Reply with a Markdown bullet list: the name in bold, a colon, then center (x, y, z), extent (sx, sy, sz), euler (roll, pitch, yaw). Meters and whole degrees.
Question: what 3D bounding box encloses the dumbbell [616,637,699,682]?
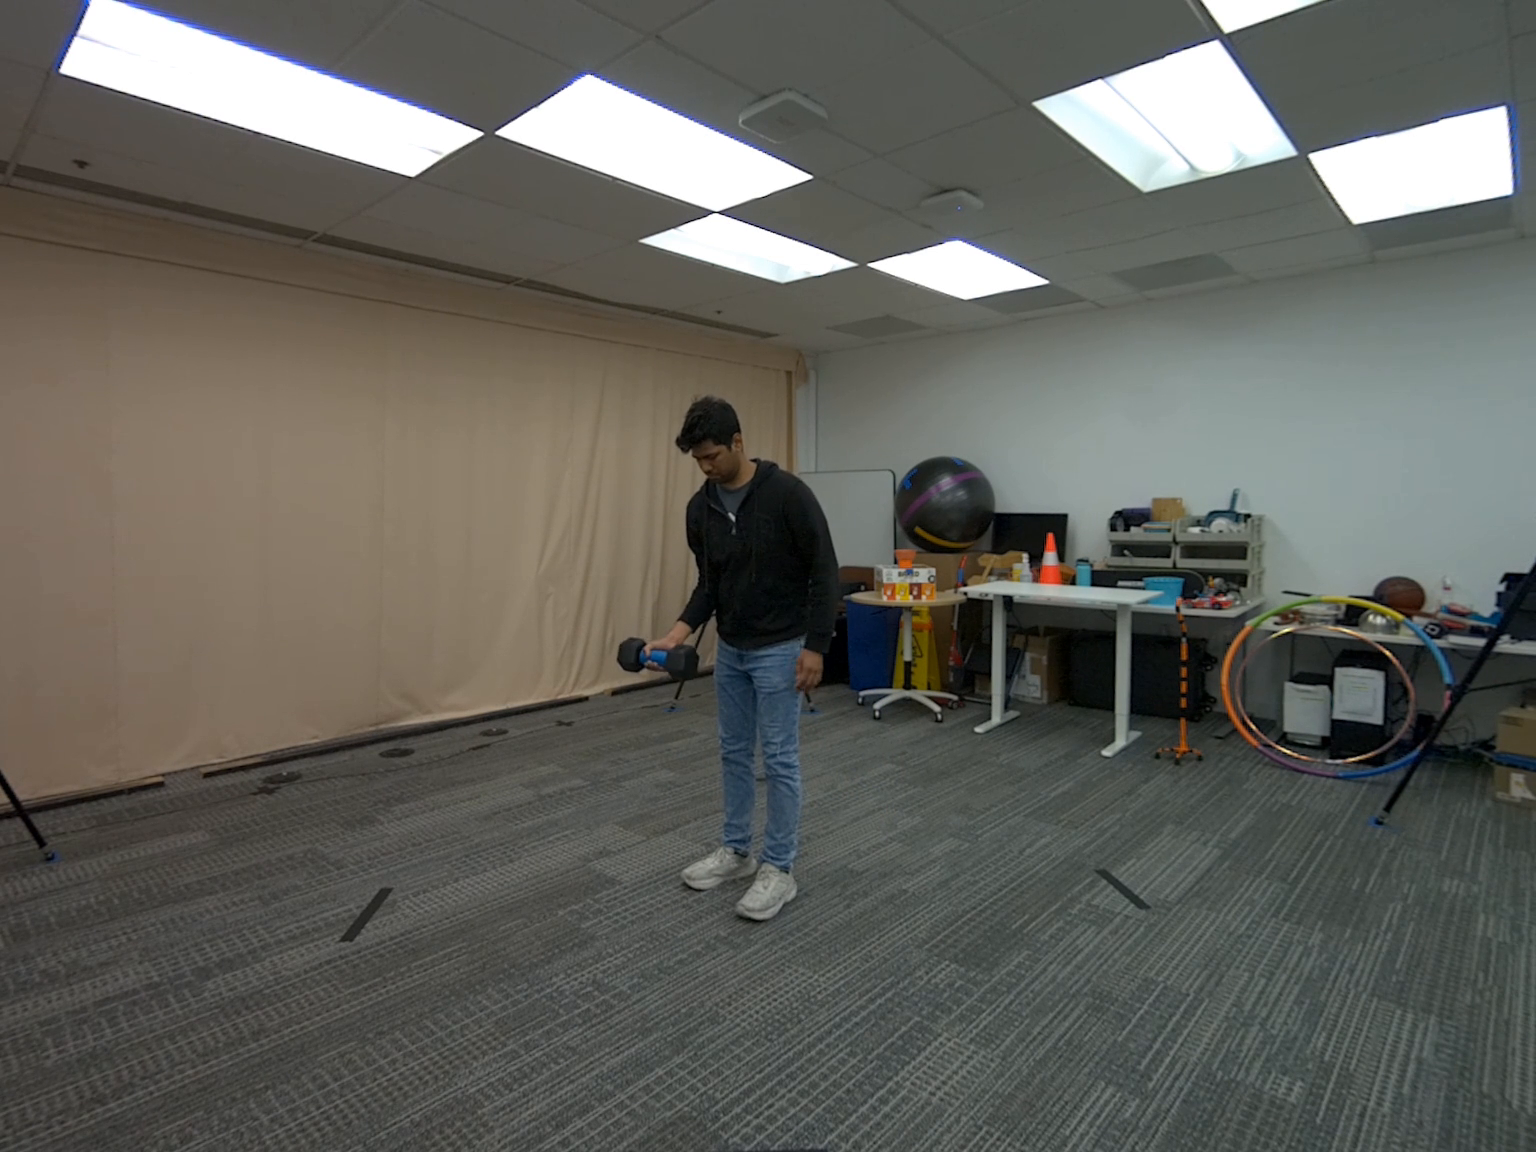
- **dumbbell**: center (-0.386, 0.276, 2.954), extent (0.302, 0.123, 0.105), euler (4, -12, 30)
